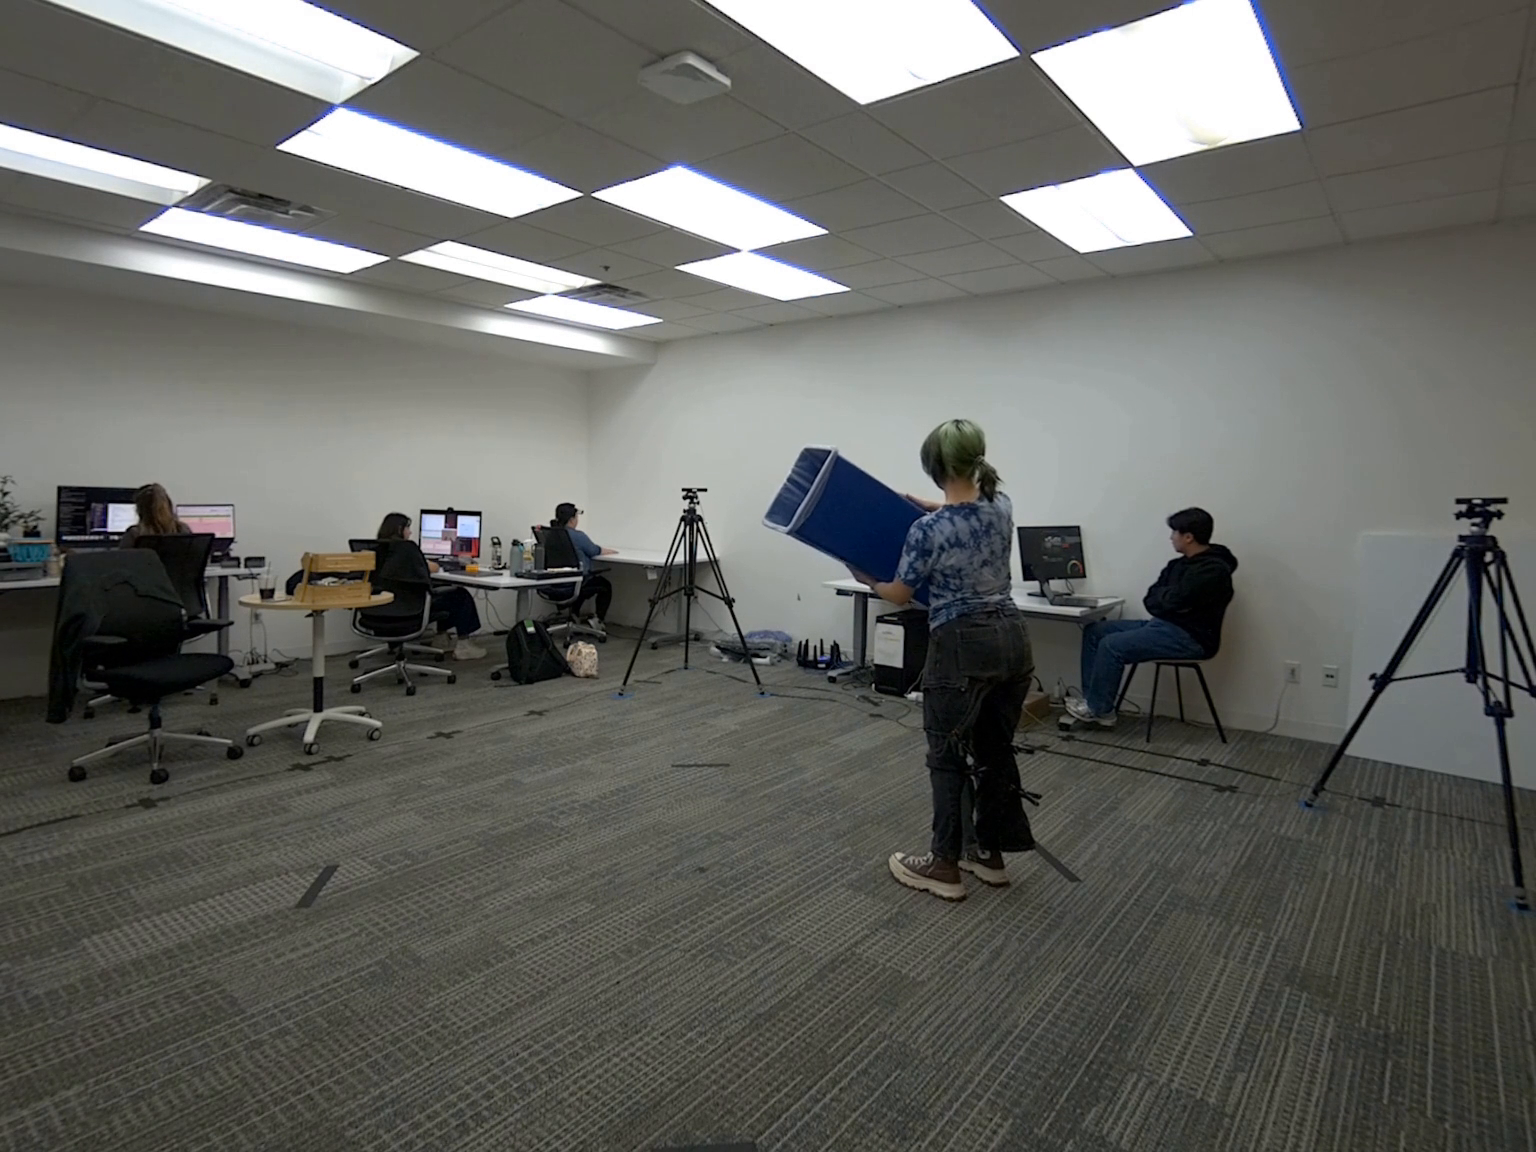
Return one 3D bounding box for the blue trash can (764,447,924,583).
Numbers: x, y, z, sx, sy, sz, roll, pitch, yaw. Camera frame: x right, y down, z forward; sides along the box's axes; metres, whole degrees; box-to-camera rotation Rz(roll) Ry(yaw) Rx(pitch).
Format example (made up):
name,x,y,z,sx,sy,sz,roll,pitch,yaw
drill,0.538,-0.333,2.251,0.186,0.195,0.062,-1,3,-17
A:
name,x,y,z,sx,sy,sz,roll,pitch,yaw
blue trash can,0.393,-0.188,3.353,0.700,0.378,0.381,29,1,-14
